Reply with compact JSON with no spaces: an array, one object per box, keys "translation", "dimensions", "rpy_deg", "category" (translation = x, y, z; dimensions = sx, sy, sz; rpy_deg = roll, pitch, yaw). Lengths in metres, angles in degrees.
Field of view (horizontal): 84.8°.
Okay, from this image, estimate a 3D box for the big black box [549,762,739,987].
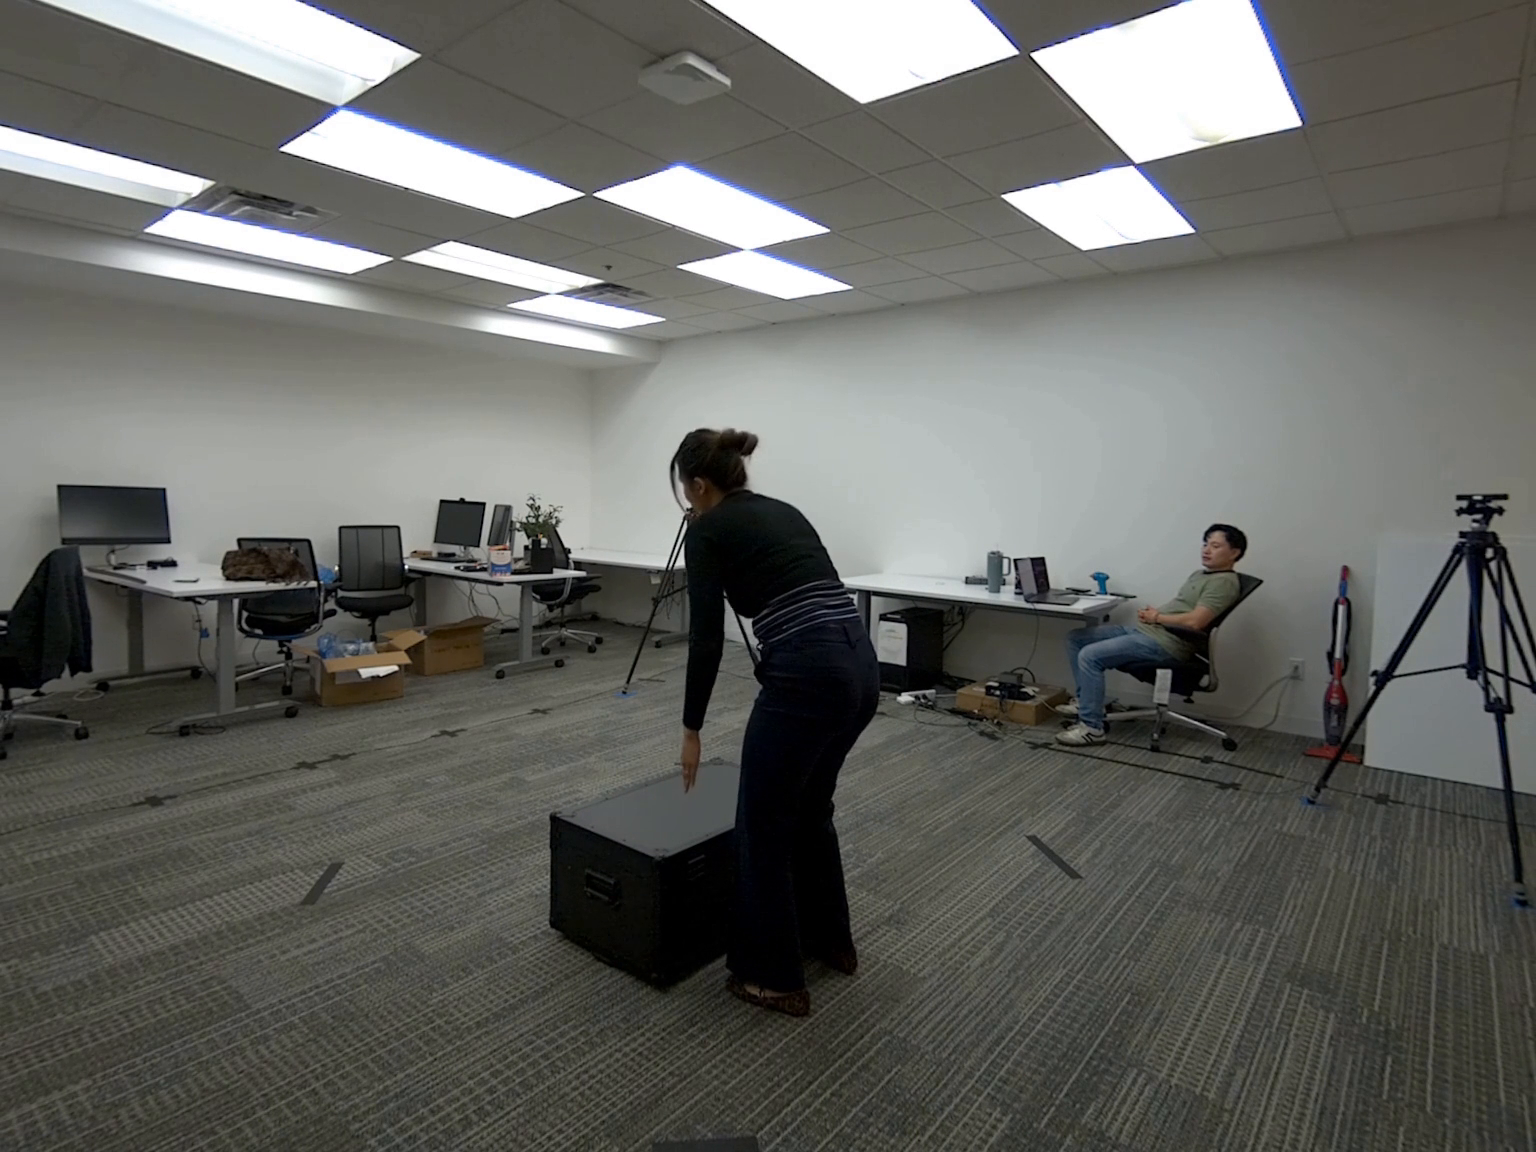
[{"translation":[-0.278,0.910,2.738],"dimensions":[0.539,0.395,0.836],"rpy_deg":[5,6,39],"category":"big black box"}]
